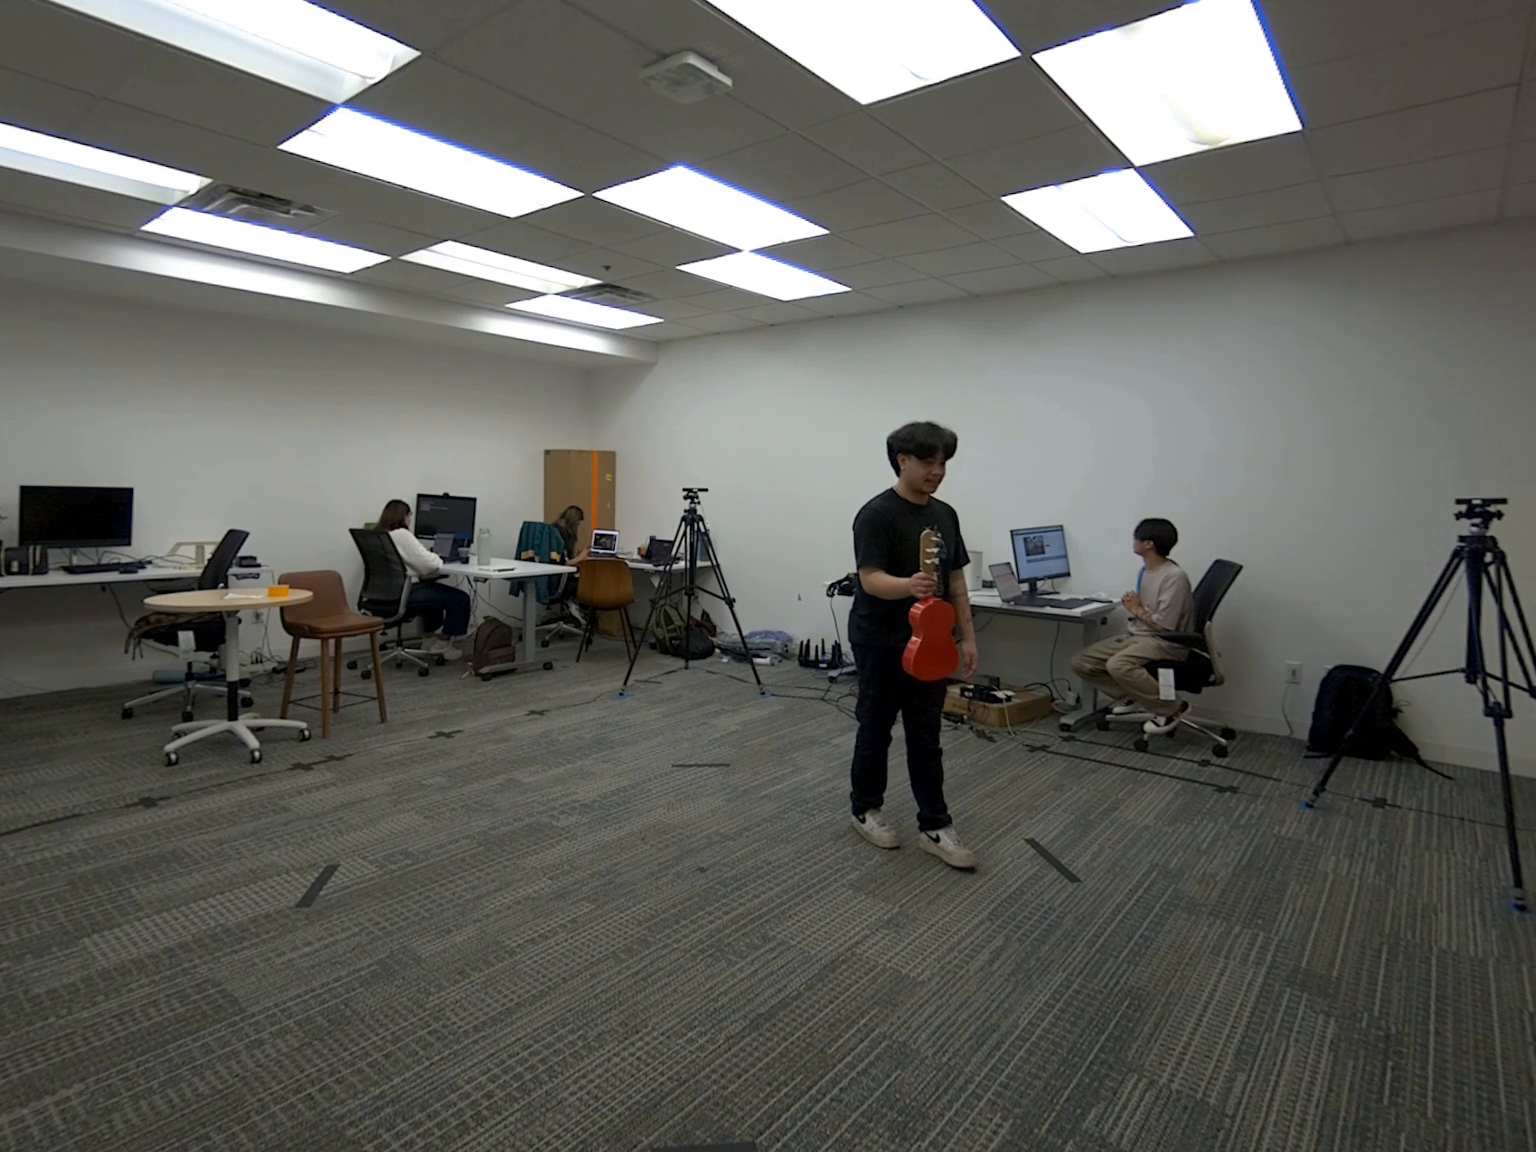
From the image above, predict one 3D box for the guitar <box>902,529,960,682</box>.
[{"bbox_3d":[0.519,0.100,2.870,0.190,0.492,0.073,-12,12,-21],"label":"guitar"}]
